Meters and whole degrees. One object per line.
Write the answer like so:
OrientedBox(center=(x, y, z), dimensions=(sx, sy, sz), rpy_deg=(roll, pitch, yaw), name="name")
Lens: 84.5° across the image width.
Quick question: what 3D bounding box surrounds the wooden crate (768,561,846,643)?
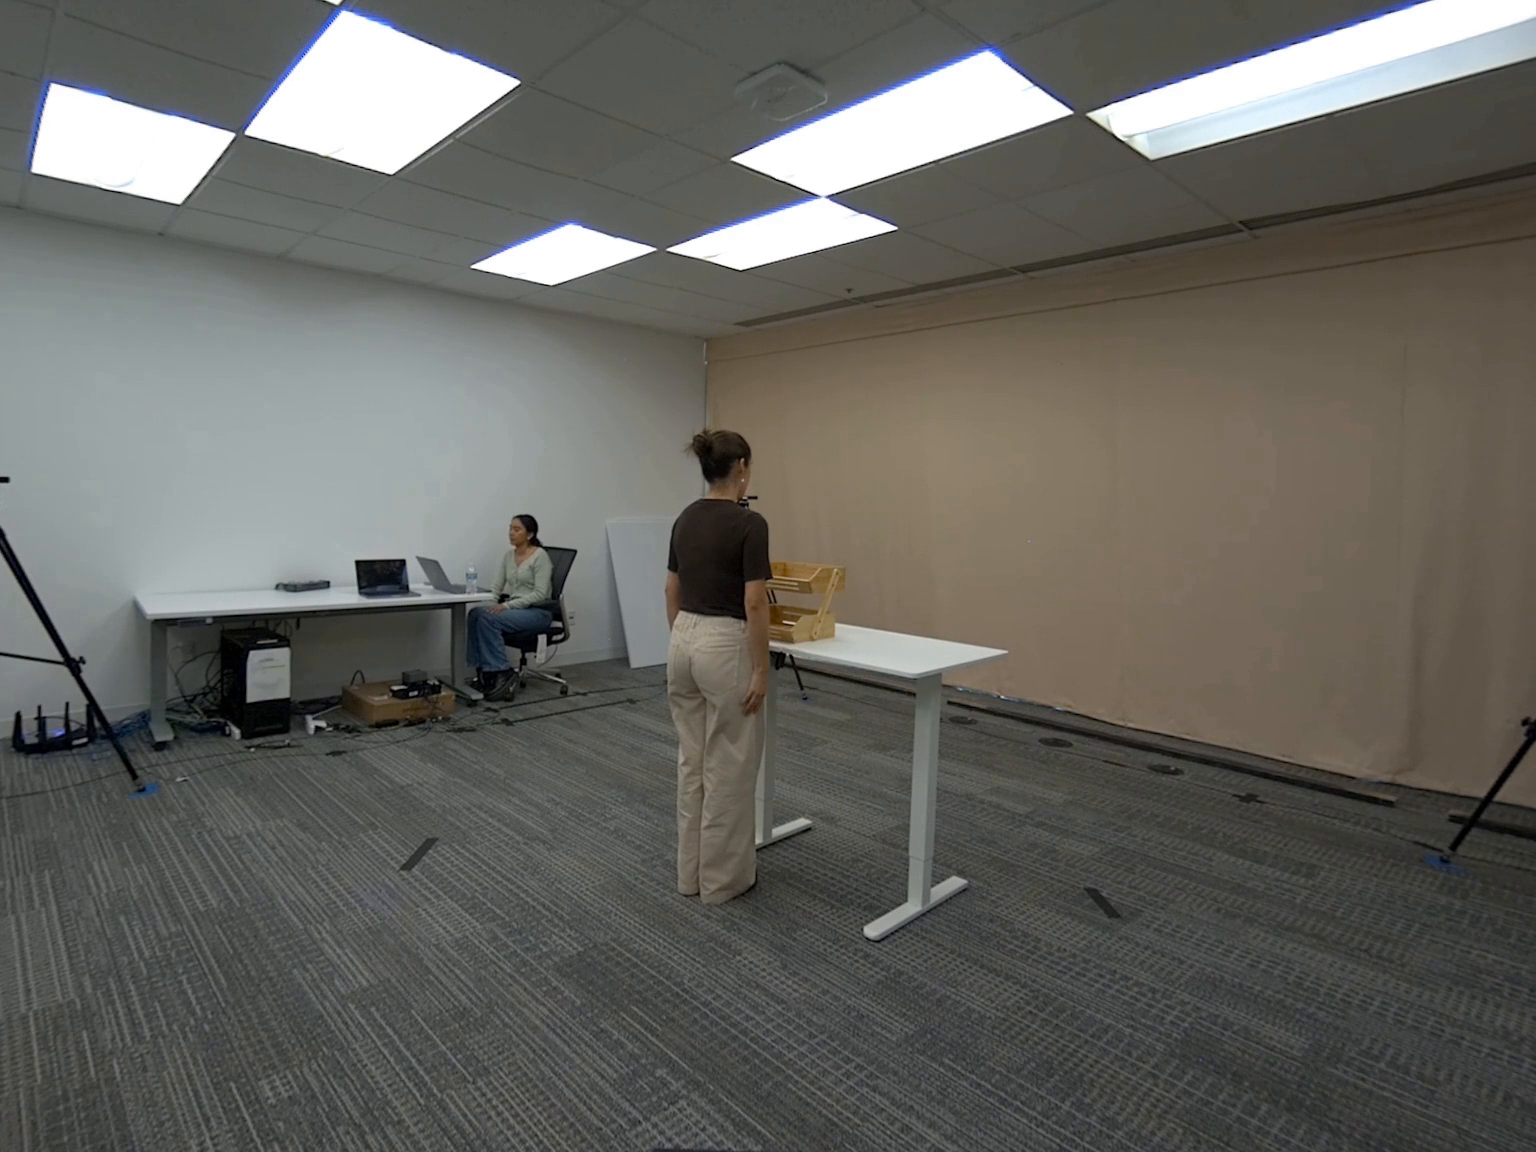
OrientedBox(center=(0.066, 0.086, 3.152), dimensions=(0.333, 0.272, 0.295), rpy_deg=(6, 5, 43), name="wooden crate")
